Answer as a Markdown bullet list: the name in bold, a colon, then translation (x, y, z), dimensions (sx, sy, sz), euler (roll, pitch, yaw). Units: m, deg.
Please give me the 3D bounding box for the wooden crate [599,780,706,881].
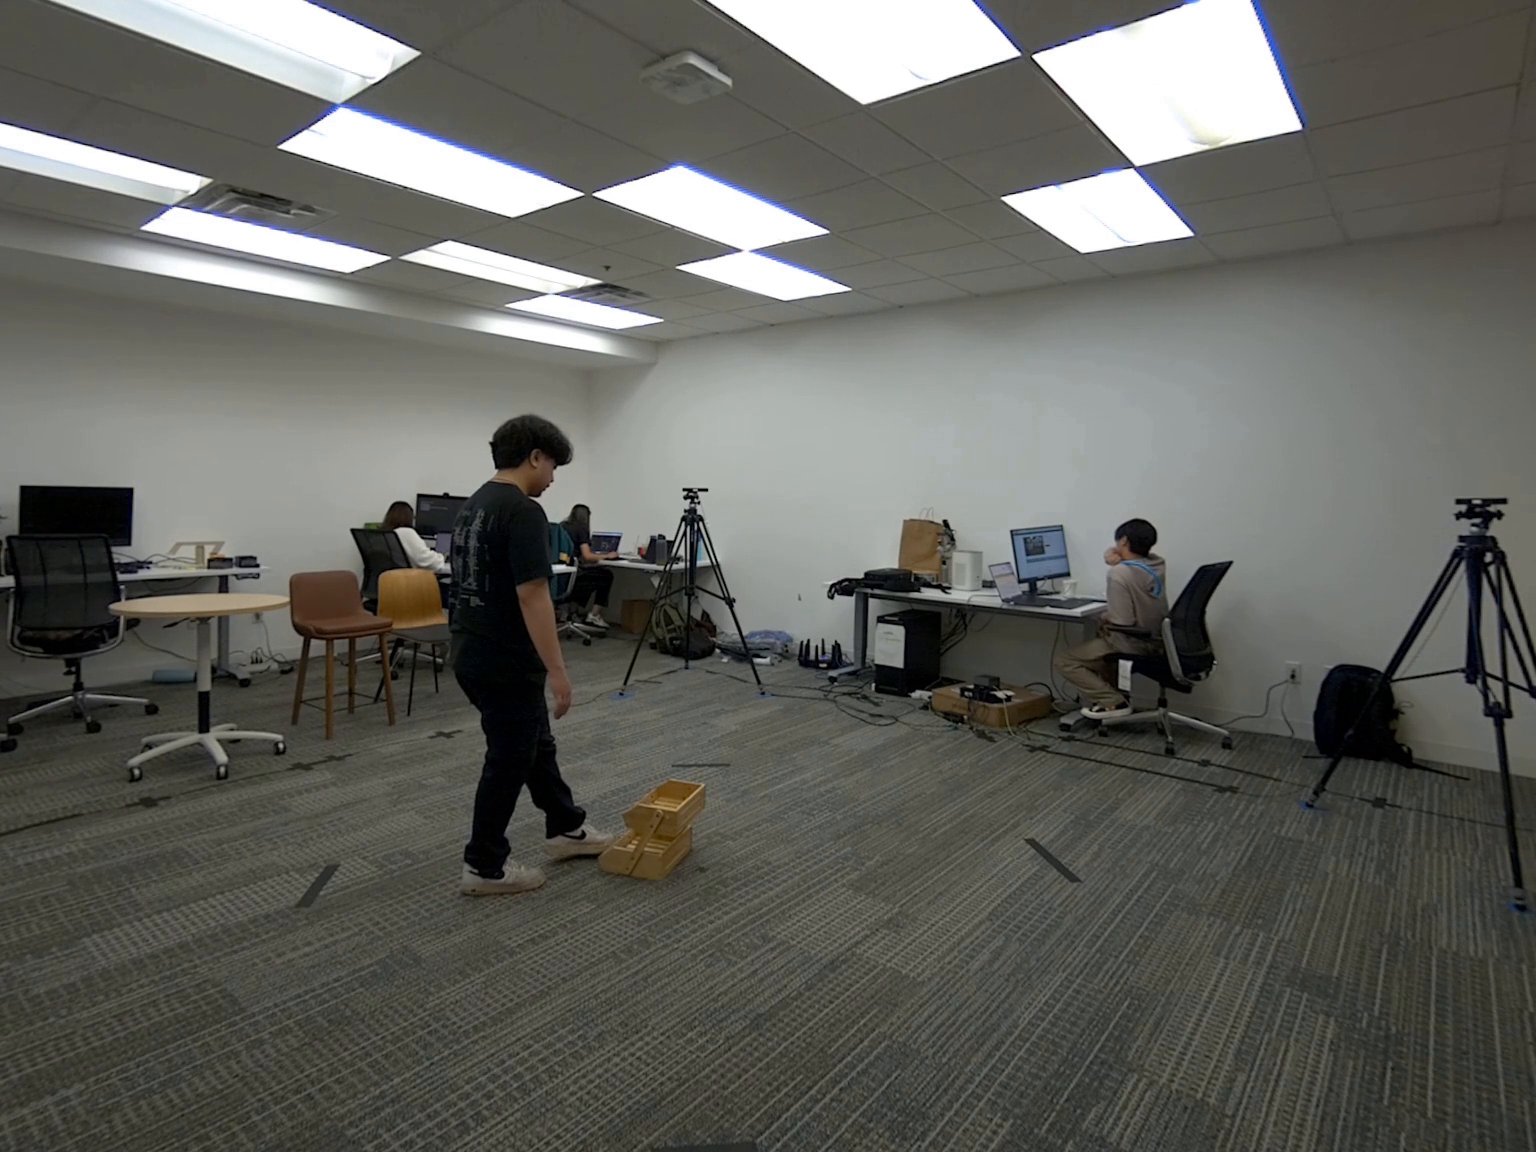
- **wooden crate**: translation (-0.457, 0.930, 3.176), dimensions (0.308, 0.272, 0.319), euler (3, 4, 17)
